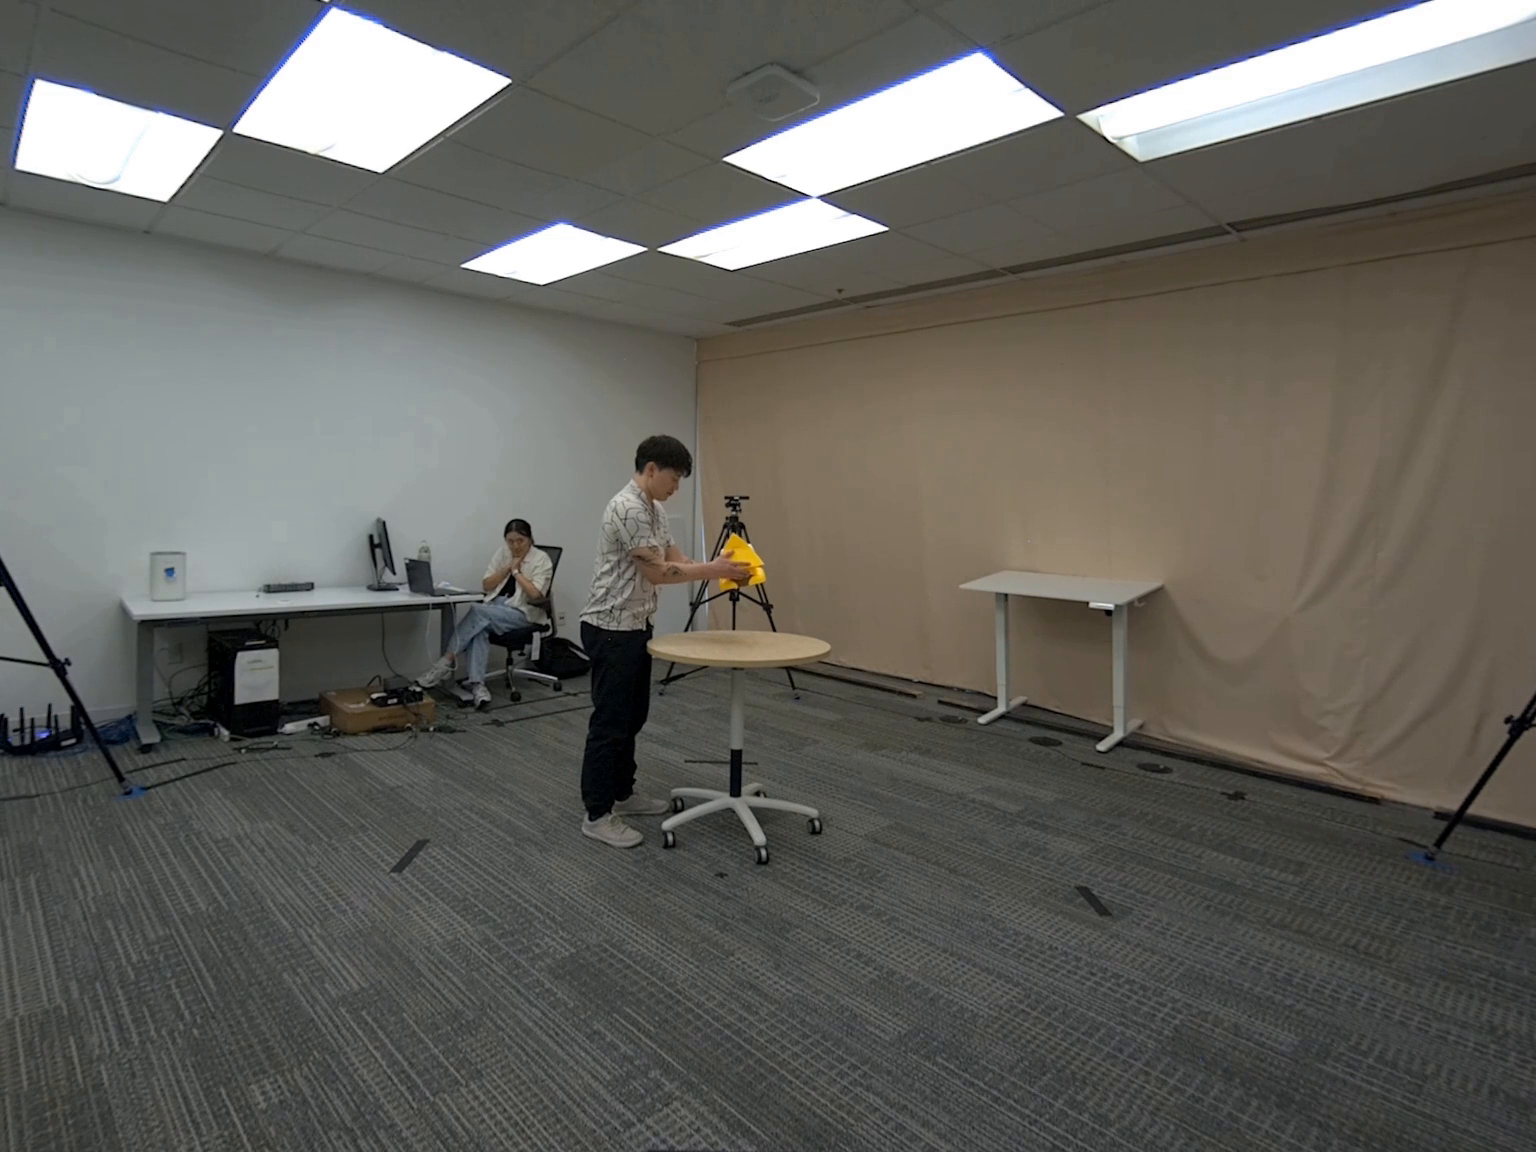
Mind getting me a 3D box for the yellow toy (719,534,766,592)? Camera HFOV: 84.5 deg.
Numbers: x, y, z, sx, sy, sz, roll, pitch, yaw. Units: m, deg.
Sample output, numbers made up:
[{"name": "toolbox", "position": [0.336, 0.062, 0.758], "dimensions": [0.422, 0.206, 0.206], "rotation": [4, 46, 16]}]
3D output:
[{"name": "yellow toy", "position": [-0.139, -0.077, 3.601], "dimensions": [0.205, 0.229, 0.194], "rotation": [-11, 7, -1]}]
